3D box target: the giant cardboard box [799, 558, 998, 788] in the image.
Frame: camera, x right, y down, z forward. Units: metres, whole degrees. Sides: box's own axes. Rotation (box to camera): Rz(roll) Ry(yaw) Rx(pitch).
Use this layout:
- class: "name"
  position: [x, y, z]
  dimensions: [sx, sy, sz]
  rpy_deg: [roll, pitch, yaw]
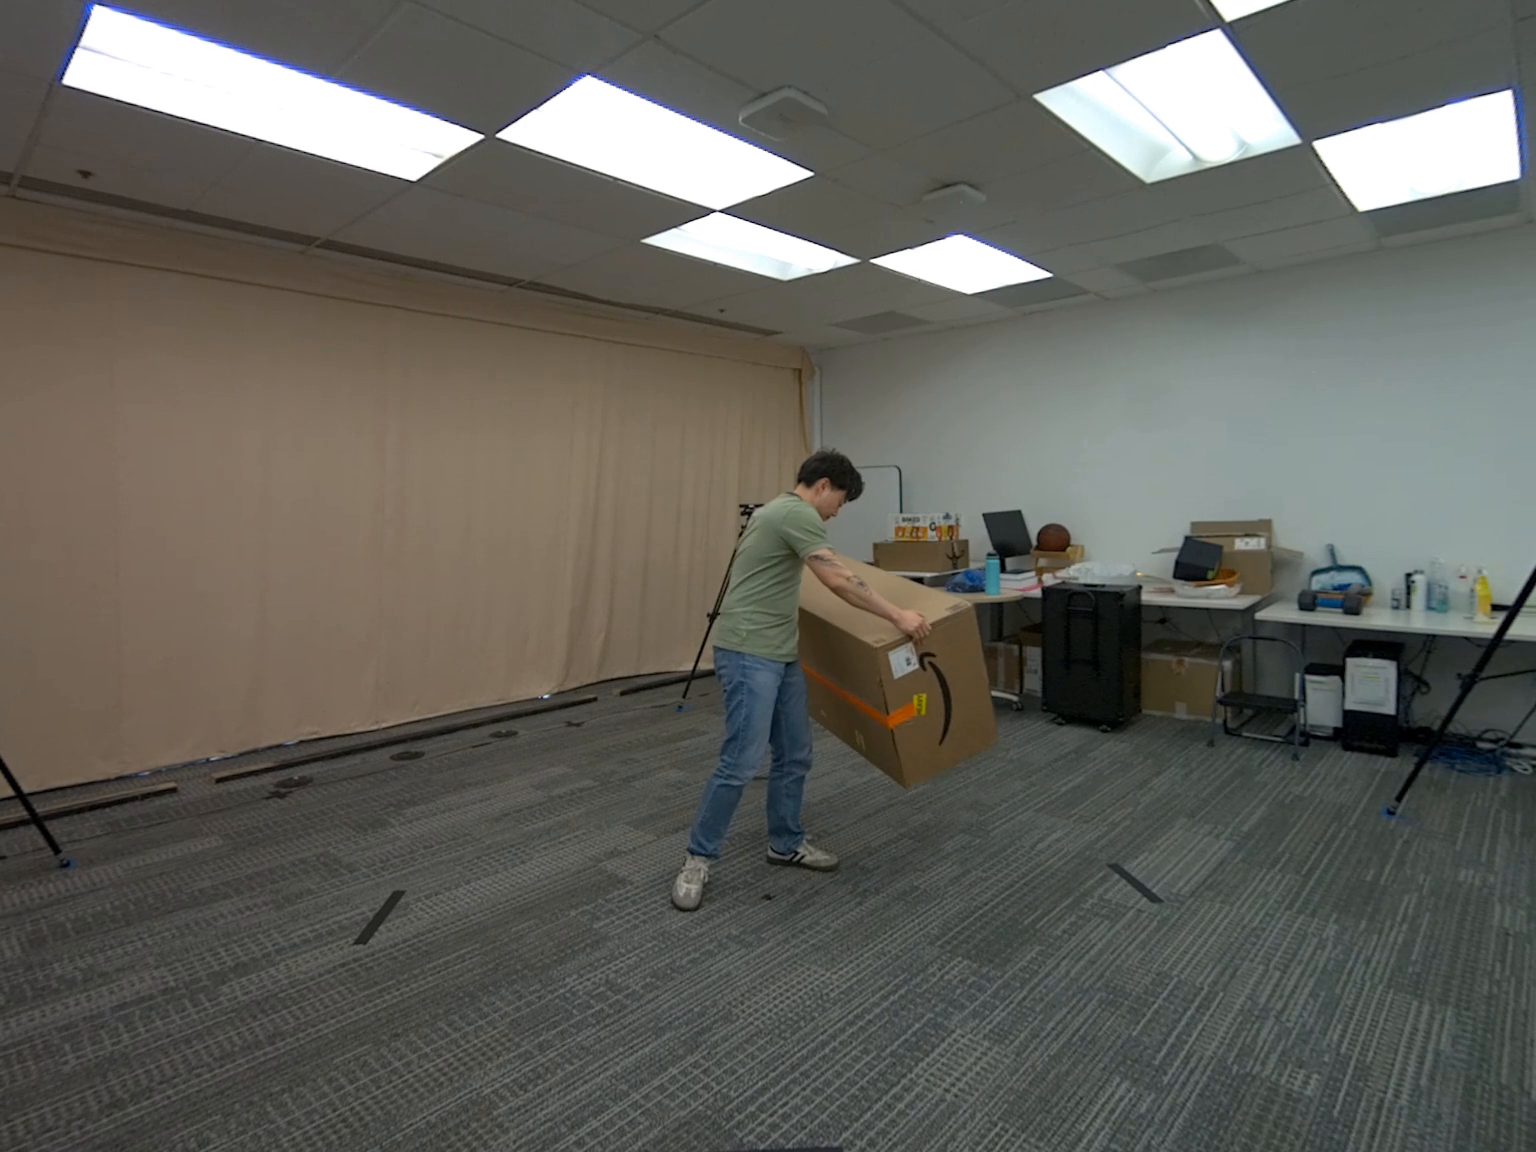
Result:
- class: "giant cardboard box"
  position: [0.383, 0.321, 3.433]
  dimensions: [0.420, 0.569, 1.056]
  rpy_deg: [-21, 19, -20]
